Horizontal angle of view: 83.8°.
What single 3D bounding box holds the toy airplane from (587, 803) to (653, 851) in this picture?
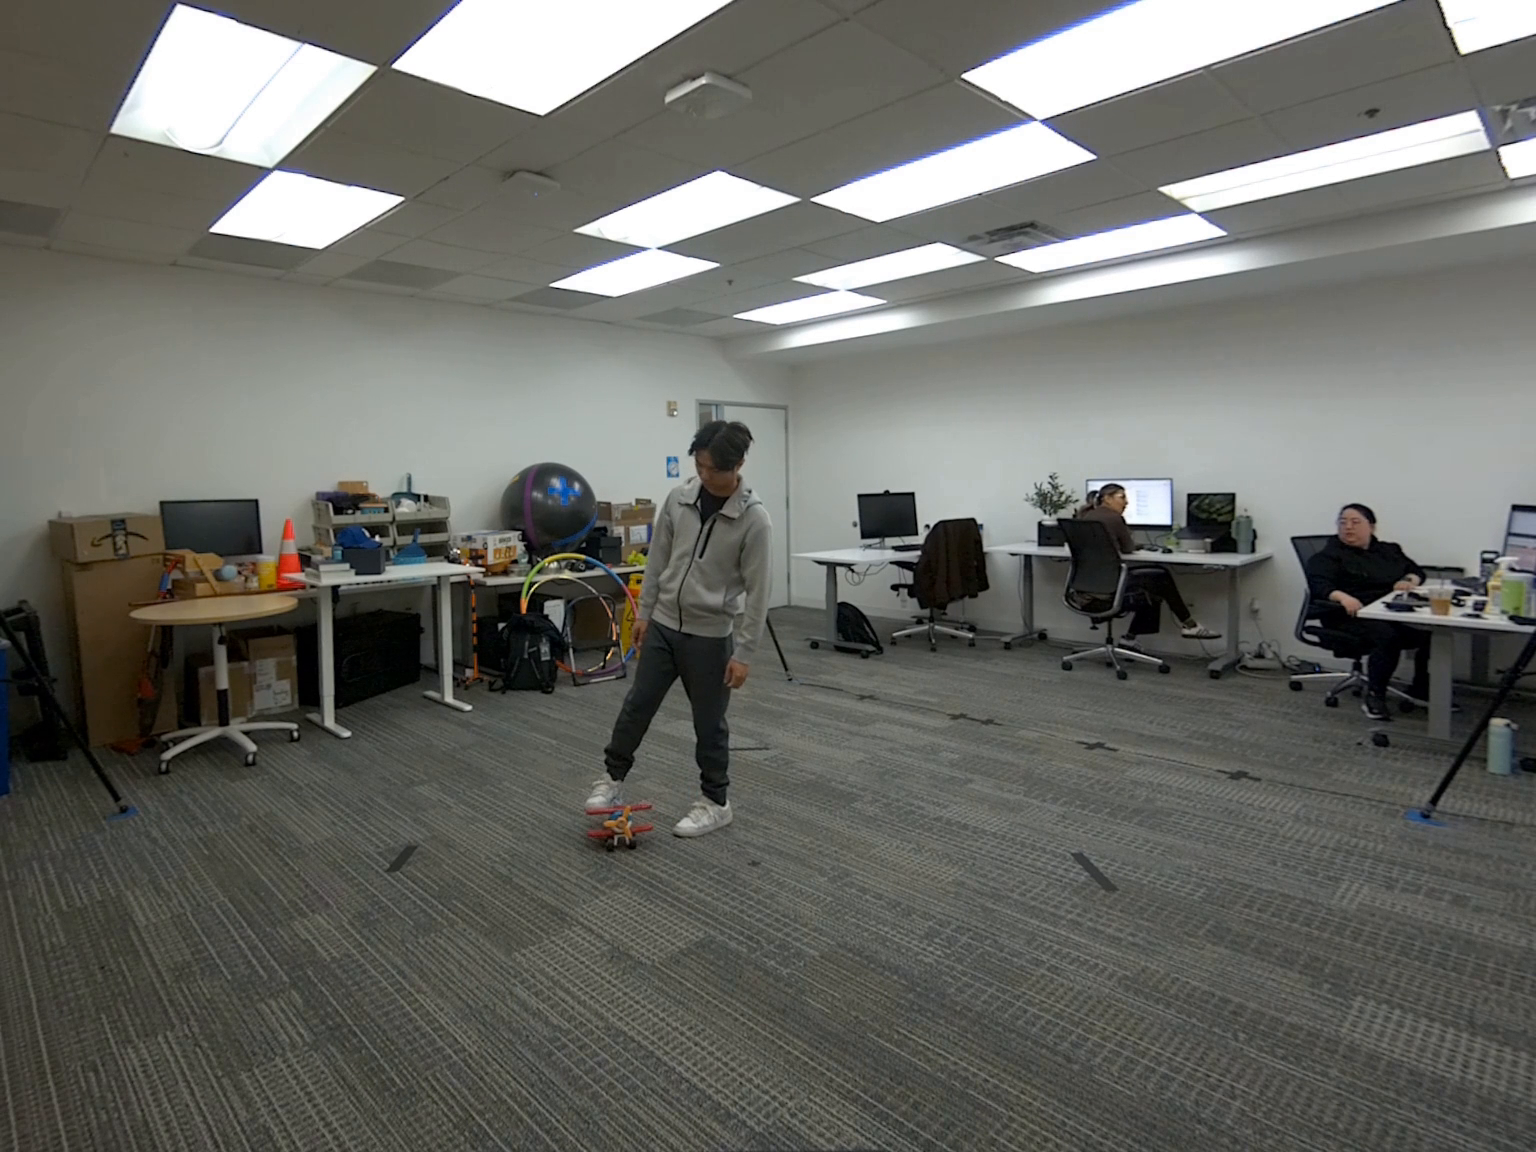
[{"bbox_3d":[-0.595,0.959,3.319,0.245,0.156,0.267,-7,8,-41],"label":"toy airplane"}]
